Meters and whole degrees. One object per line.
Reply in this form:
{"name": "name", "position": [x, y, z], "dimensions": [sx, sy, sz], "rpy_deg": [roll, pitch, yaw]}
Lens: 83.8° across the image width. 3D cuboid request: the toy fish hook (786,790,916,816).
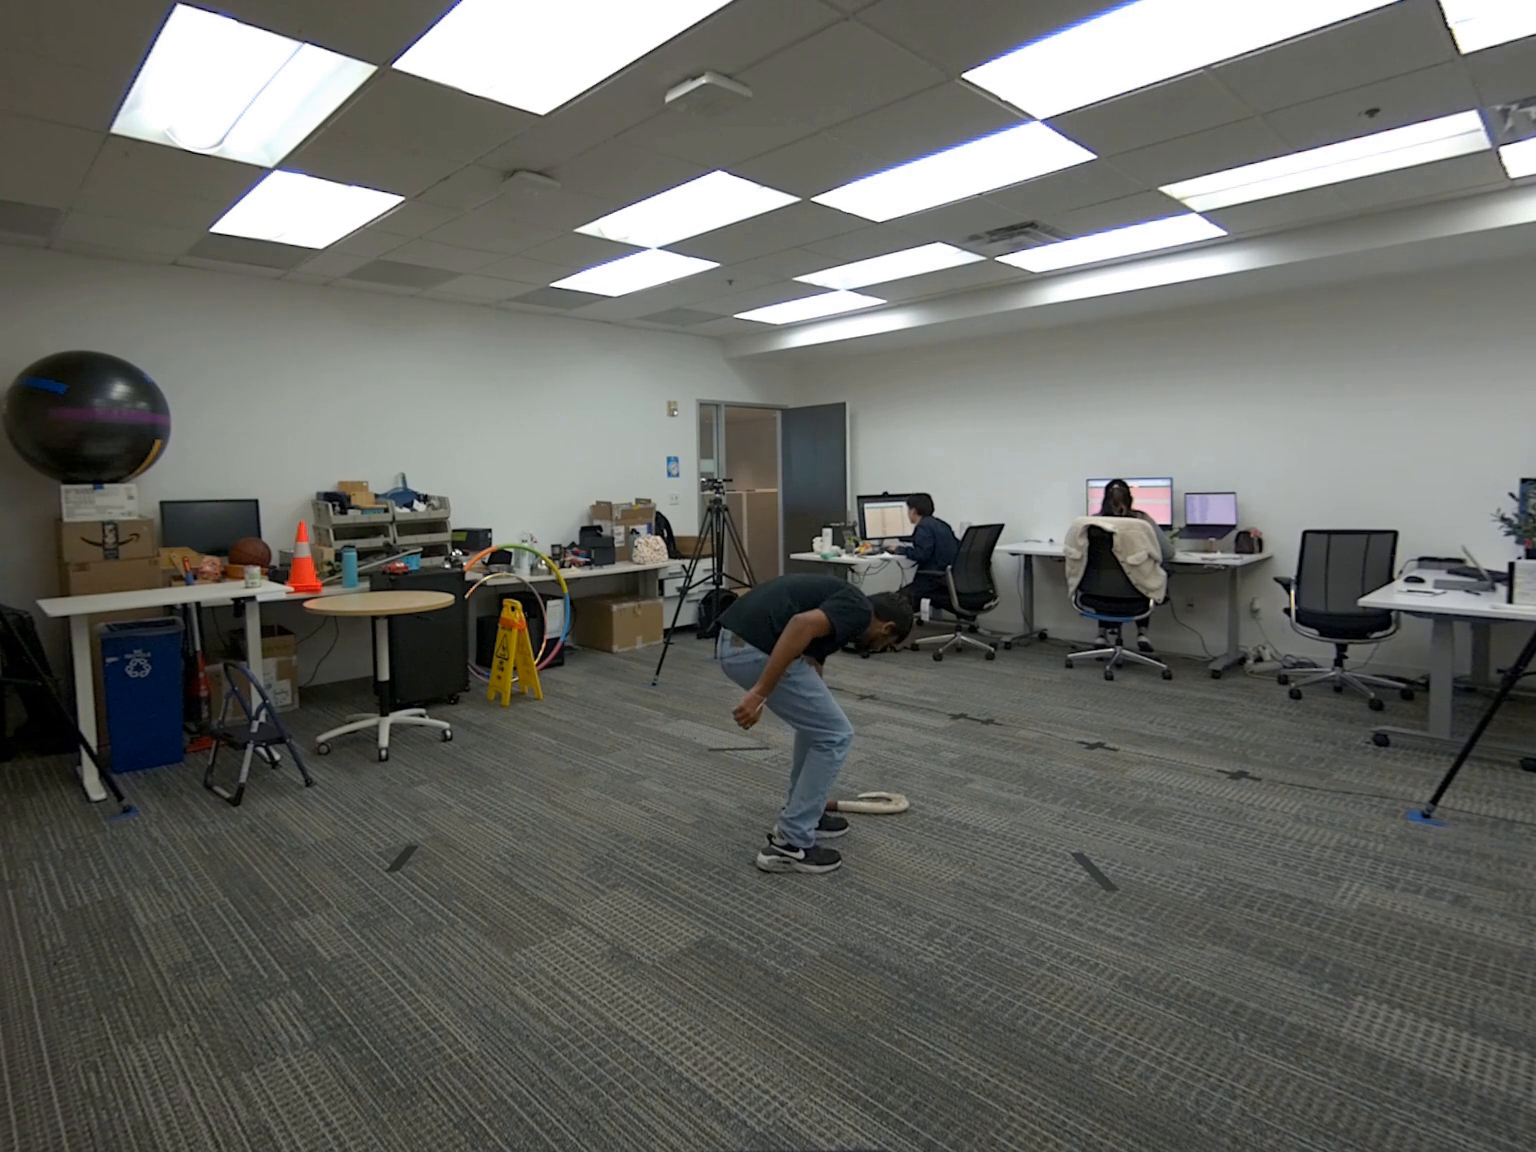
{"name": "toy fish hook", "position": [0.341, 0.962, 3.631], "dimensions": [0.506, 0.048, 0.224], "rpy_deg": [-1, -2, -2]}
